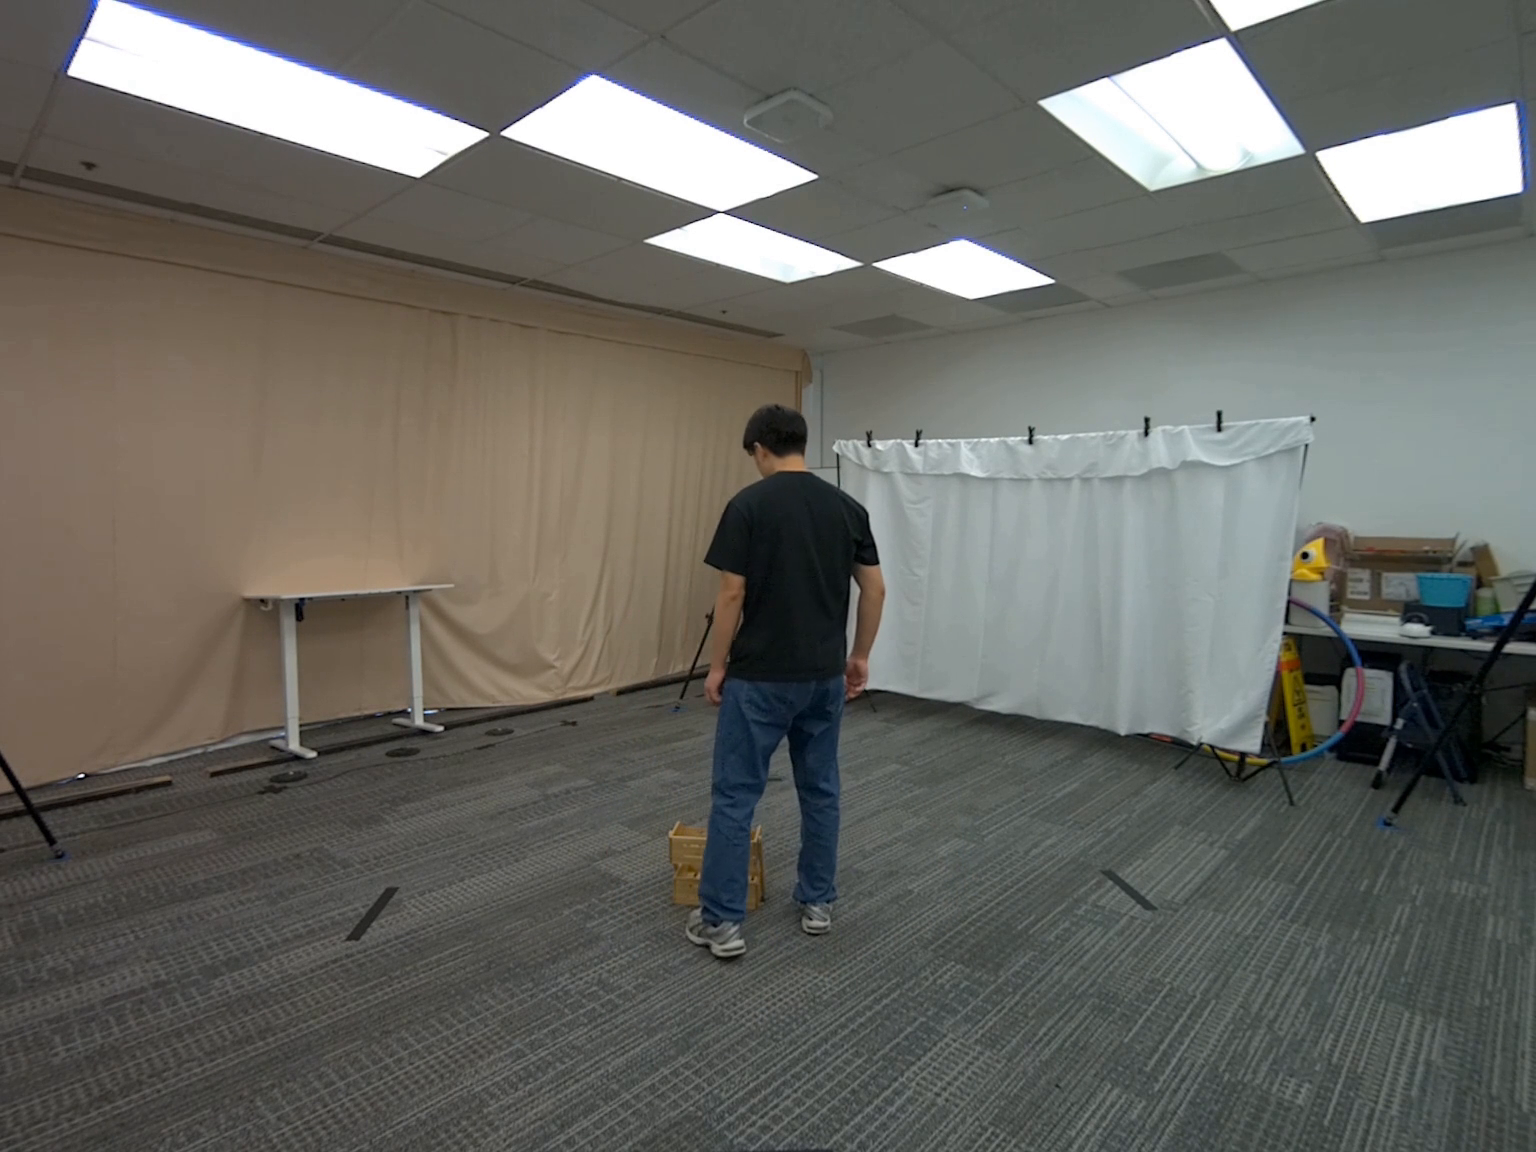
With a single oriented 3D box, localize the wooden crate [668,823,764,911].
[{"bbox_3d":[-0.176,1.012,3.014,0.327,0.273,0.300,0,4,8],"label":"wooden crate"}]
